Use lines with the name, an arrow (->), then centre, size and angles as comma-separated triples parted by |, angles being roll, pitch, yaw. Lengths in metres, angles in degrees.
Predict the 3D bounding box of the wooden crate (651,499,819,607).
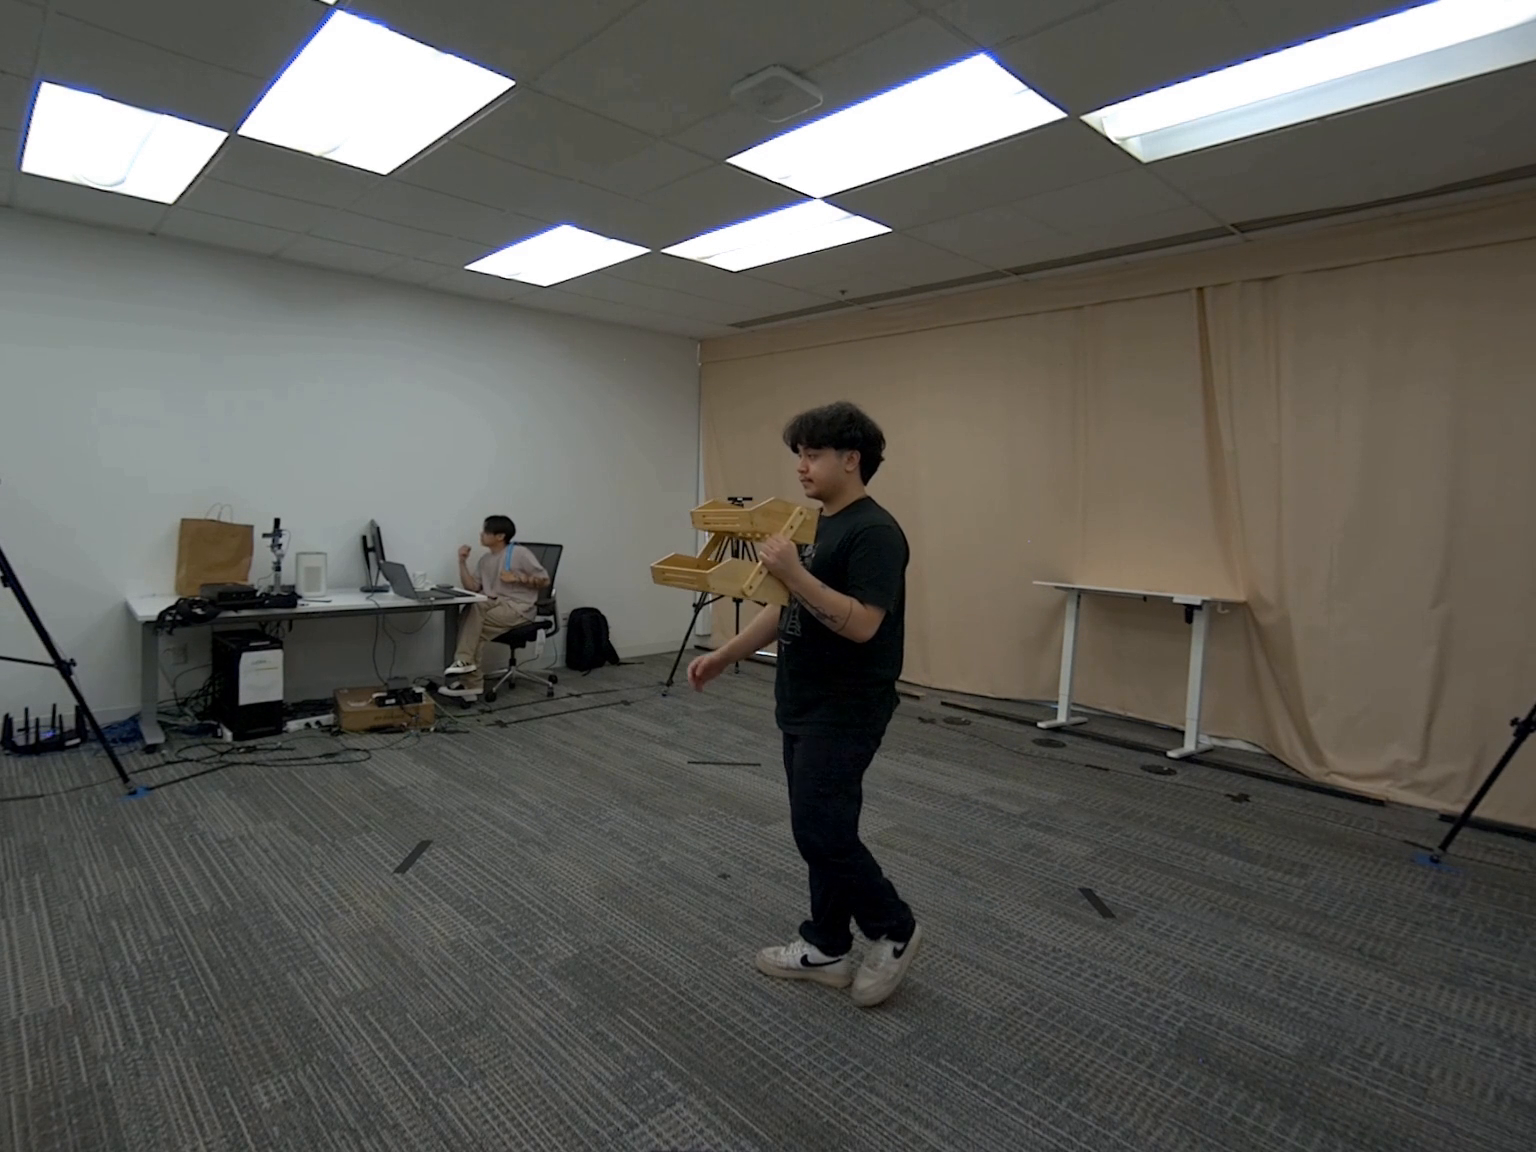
wooden crate -> -0.098, -0.078, 2.223 | 0.294, 0.274, 0.332 | 12, -4, -34
